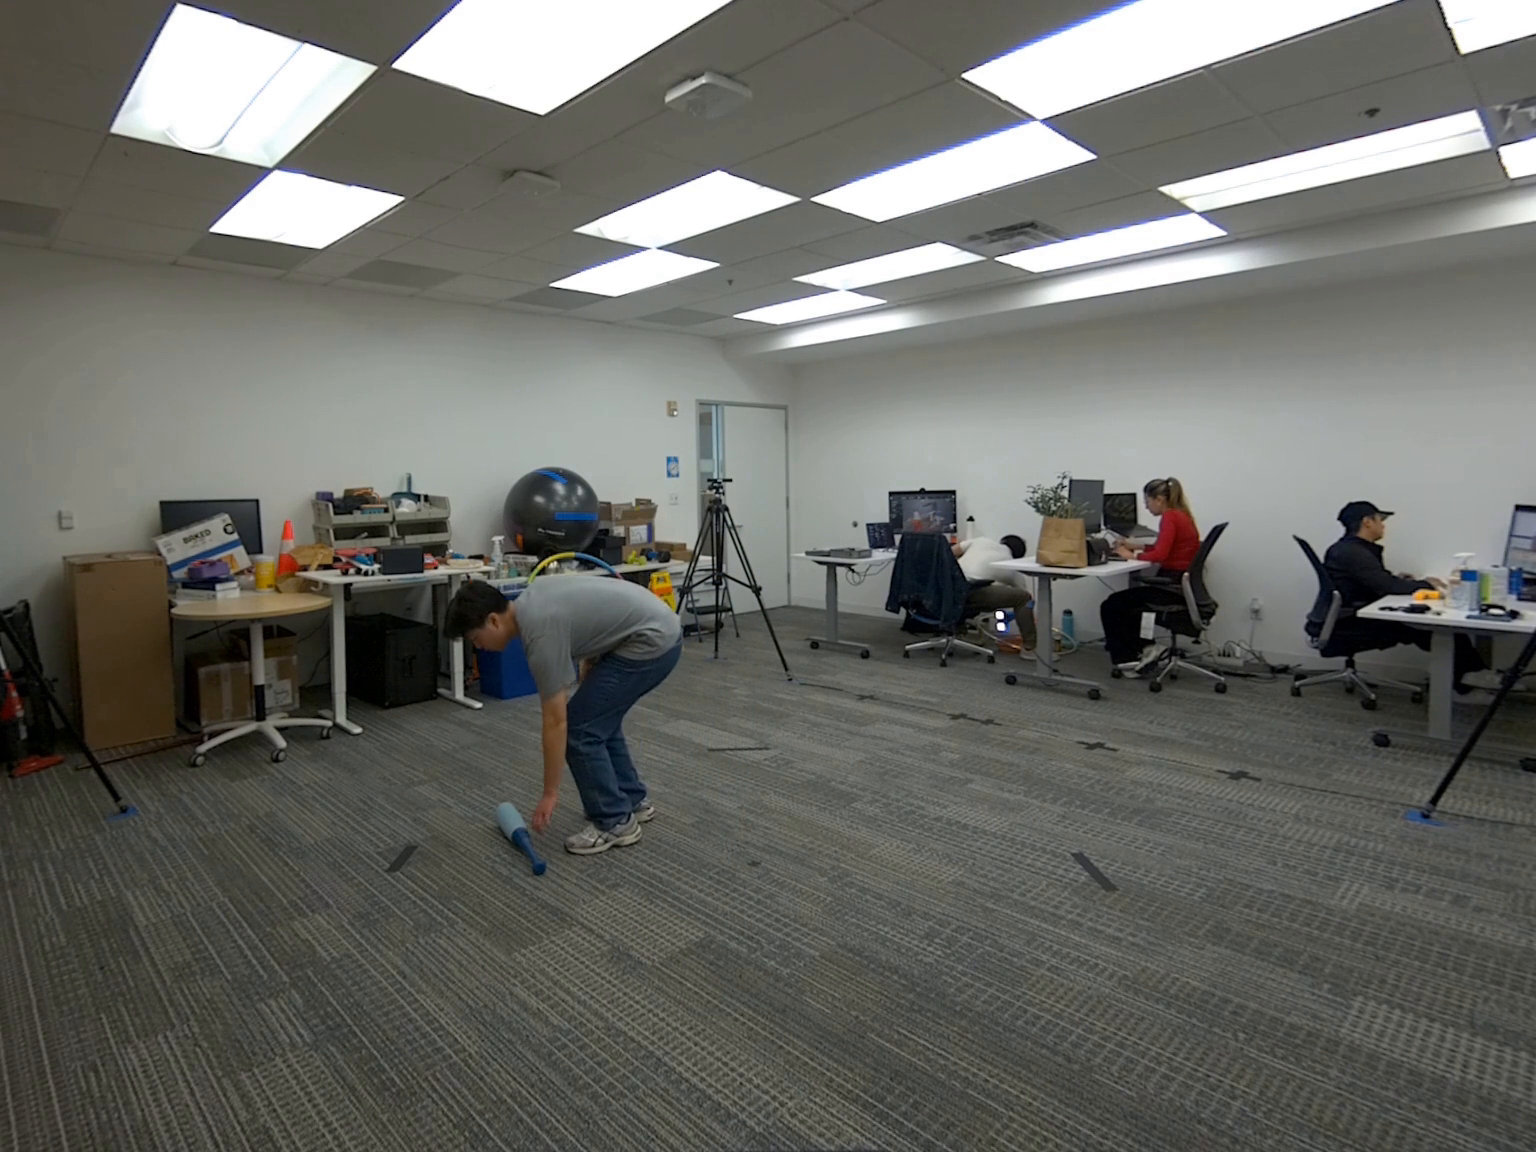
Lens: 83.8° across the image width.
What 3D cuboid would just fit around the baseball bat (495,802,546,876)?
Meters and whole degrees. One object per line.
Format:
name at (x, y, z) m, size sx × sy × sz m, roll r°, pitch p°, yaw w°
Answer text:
baseball bat at (-0.941, 1.009, 3.282) m, size 0.087 × 0.088 × 0.559 m, roll -3°, pitch 10°, yaw -29°
